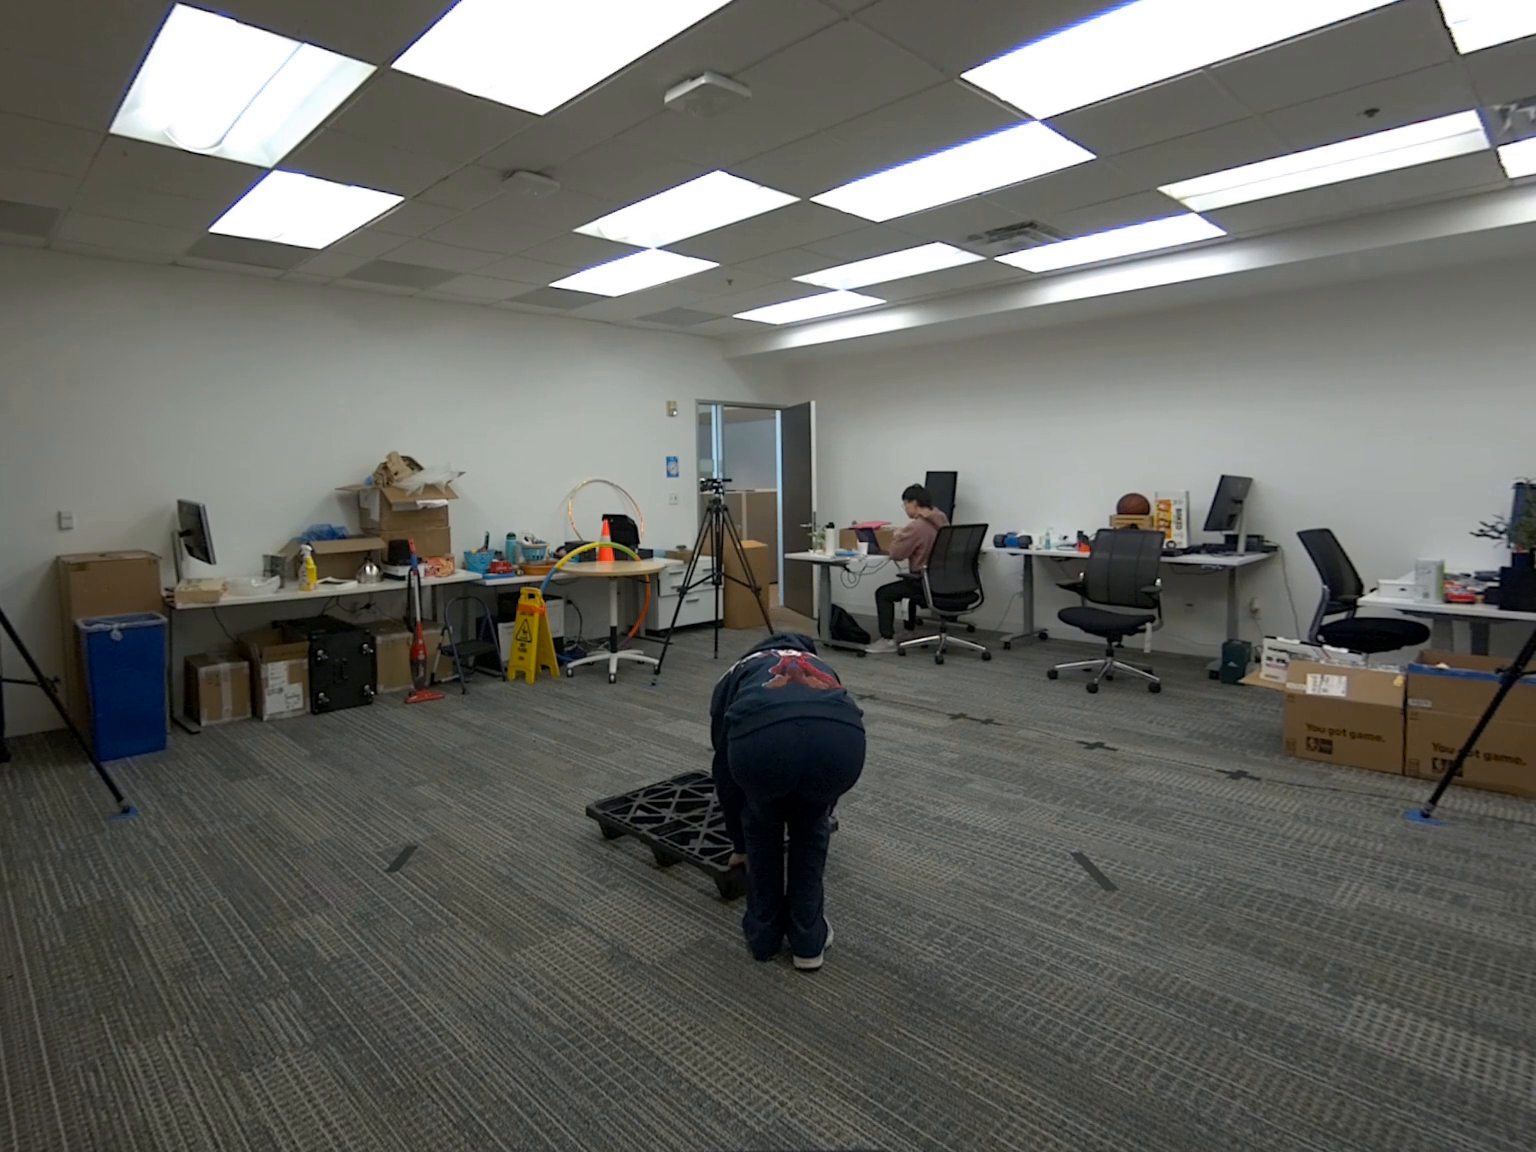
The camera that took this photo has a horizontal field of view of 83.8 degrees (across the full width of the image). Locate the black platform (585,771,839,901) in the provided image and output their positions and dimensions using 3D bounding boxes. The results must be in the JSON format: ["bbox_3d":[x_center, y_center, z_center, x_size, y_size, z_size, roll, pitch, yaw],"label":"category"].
[{"bbox_3d":[-0.222,0.964,3.244,0.589,0.142,0.830,-8,9,-44],"label":"black platform"}]
